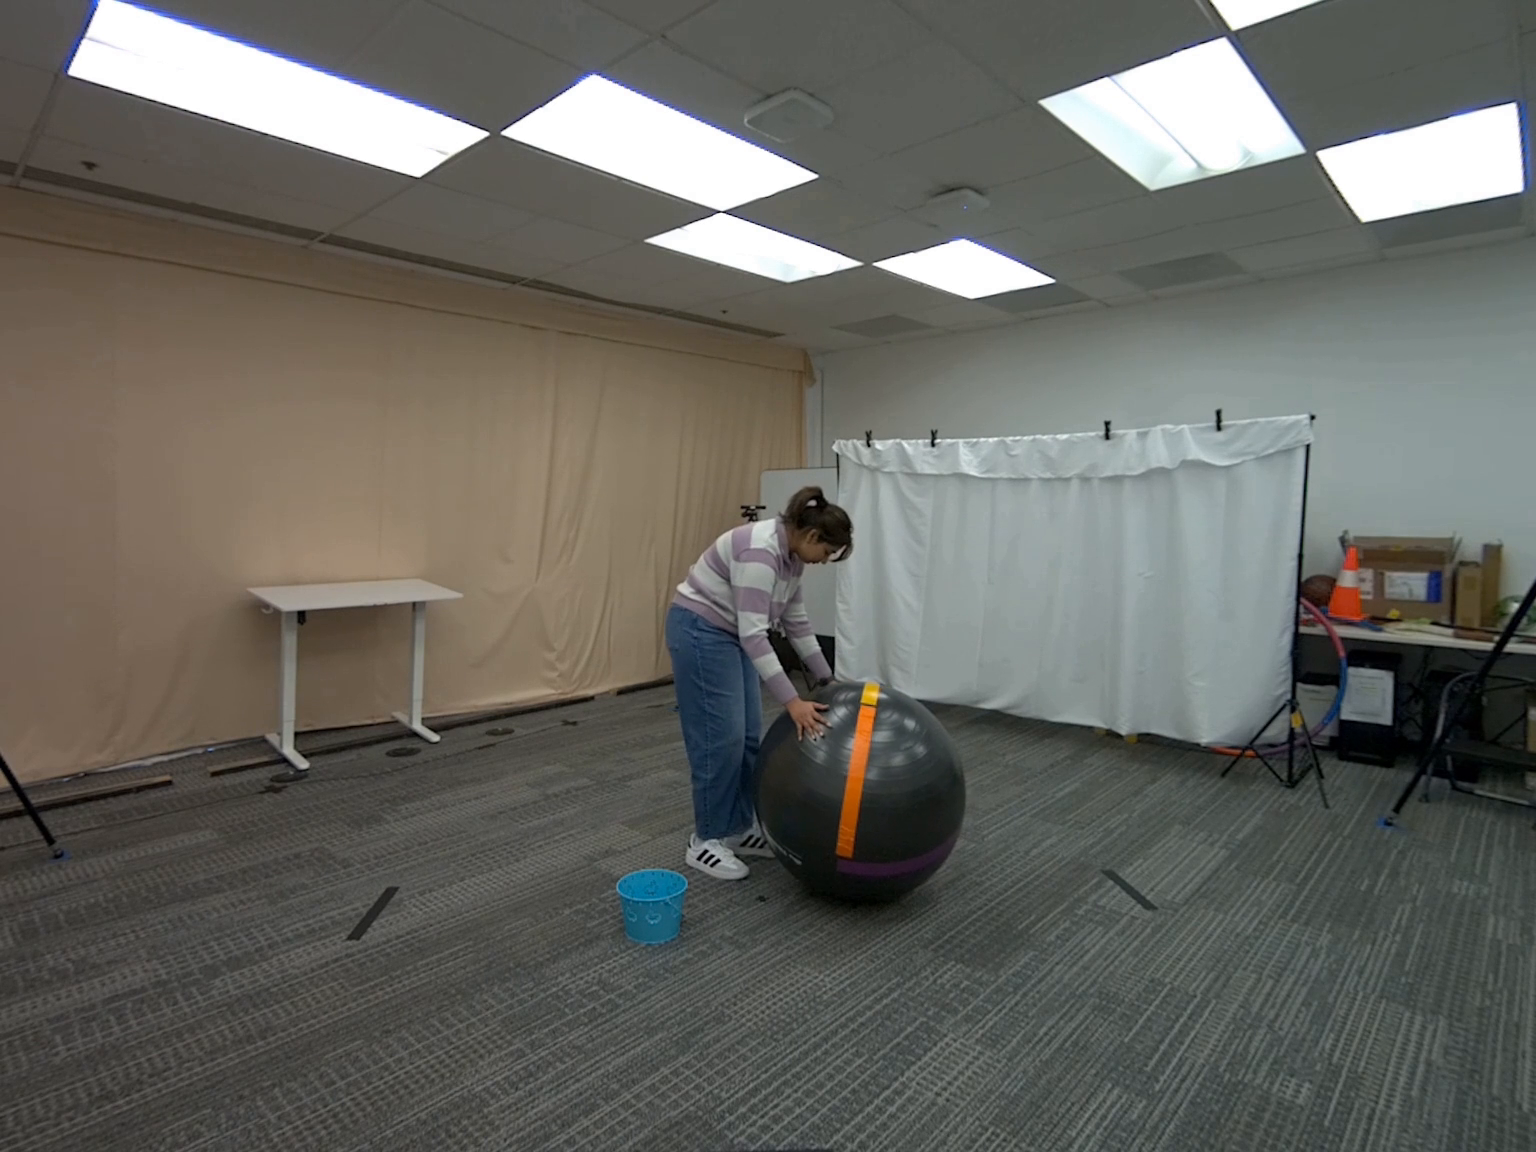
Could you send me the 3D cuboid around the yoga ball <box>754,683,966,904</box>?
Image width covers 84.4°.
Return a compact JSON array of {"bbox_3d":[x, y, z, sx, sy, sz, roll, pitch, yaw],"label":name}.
[{"bbox_3d":[0.335,0.770,3.030,0.757,0.756,0.760,0,4,-2],"label":"yoga ball"}]
